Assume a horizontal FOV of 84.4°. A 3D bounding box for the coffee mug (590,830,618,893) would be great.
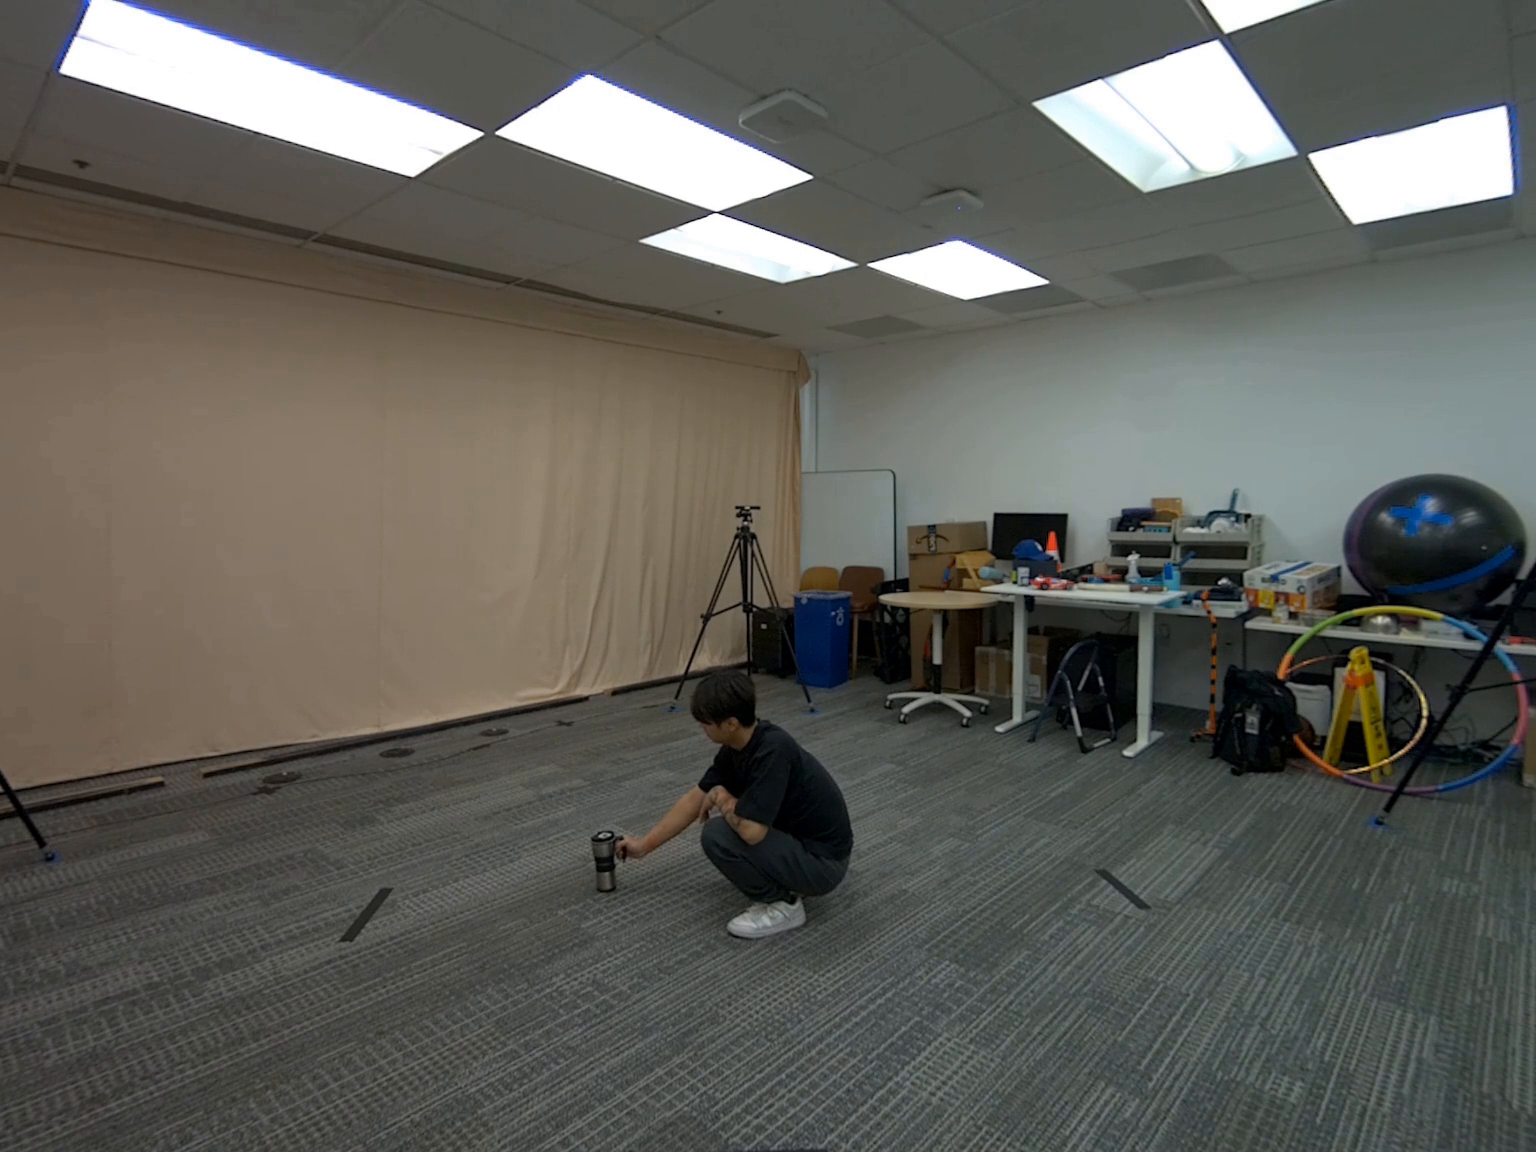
[{"bbox_3d":[-0.581,1.040,3.055,0.126,0.203,0.085,-5,-2,40],"label":"coffee mug"}]
